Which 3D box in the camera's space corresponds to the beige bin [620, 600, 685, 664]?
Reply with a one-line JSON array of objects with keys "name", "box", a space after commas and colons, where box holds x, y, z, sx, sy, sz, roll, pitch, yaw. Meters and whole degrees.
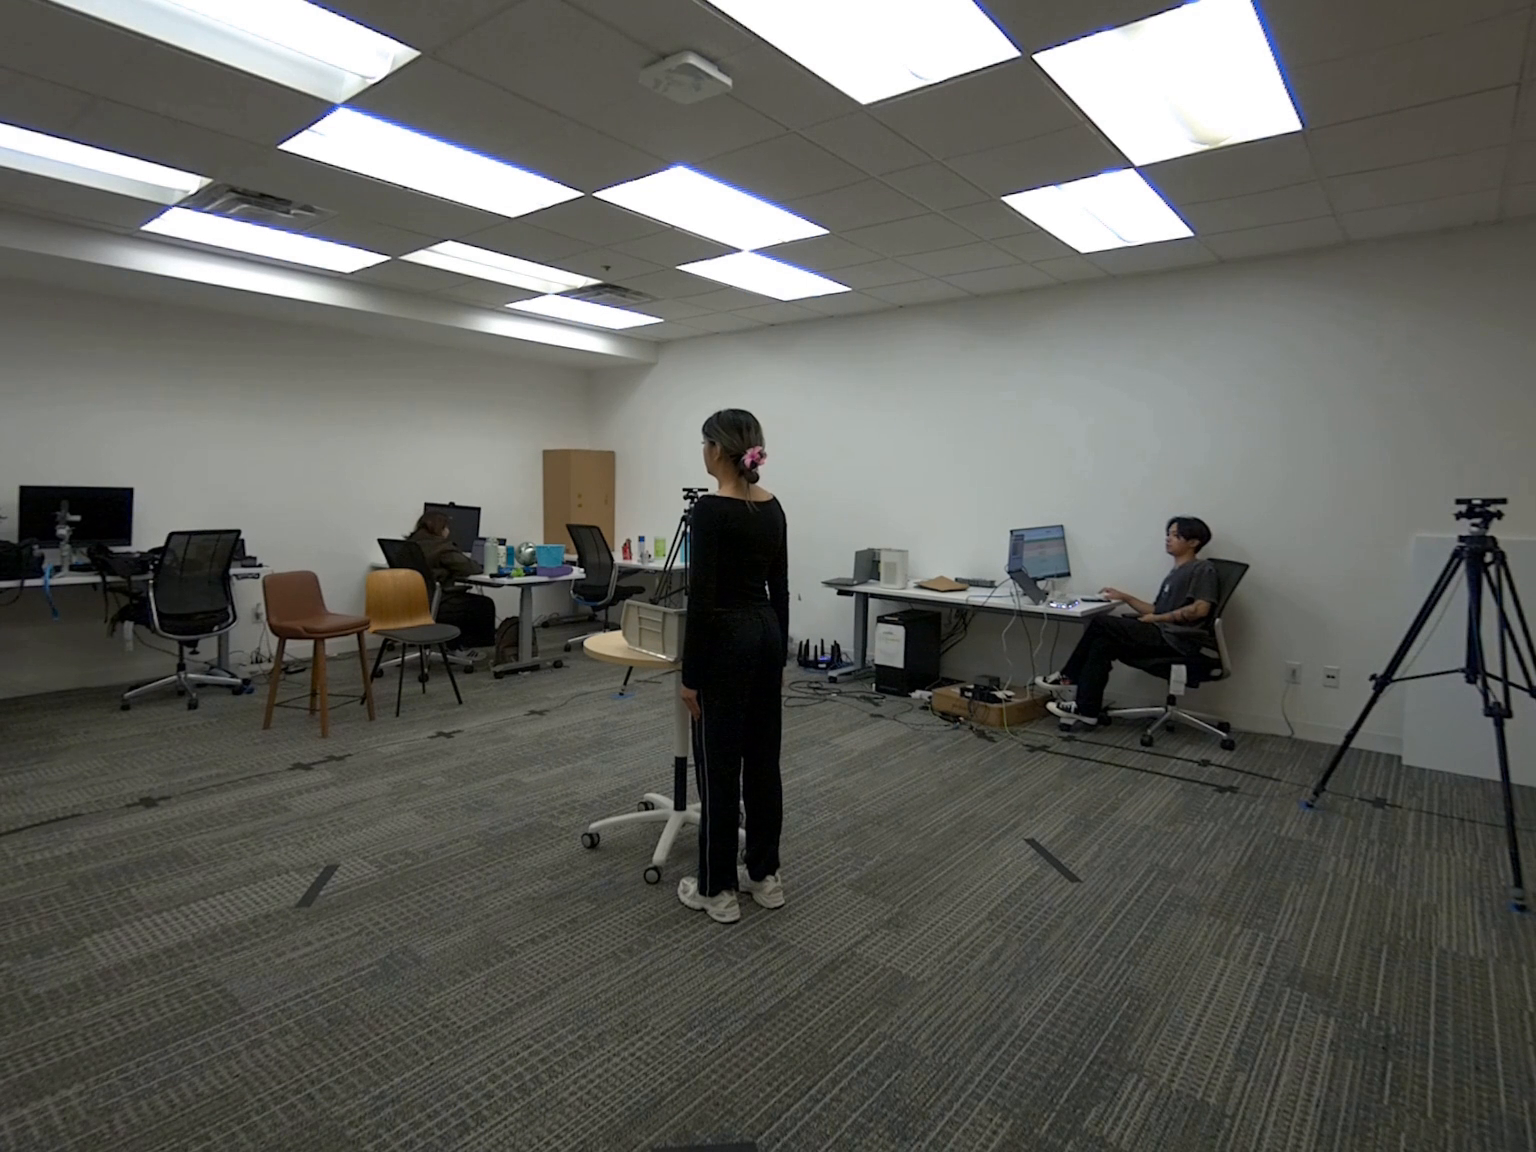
[{"name": "beige bin", "box": [-0.282, 0.179, 3.150, 0.410, 0.188, 0.390, -2, 7, -38]}]
